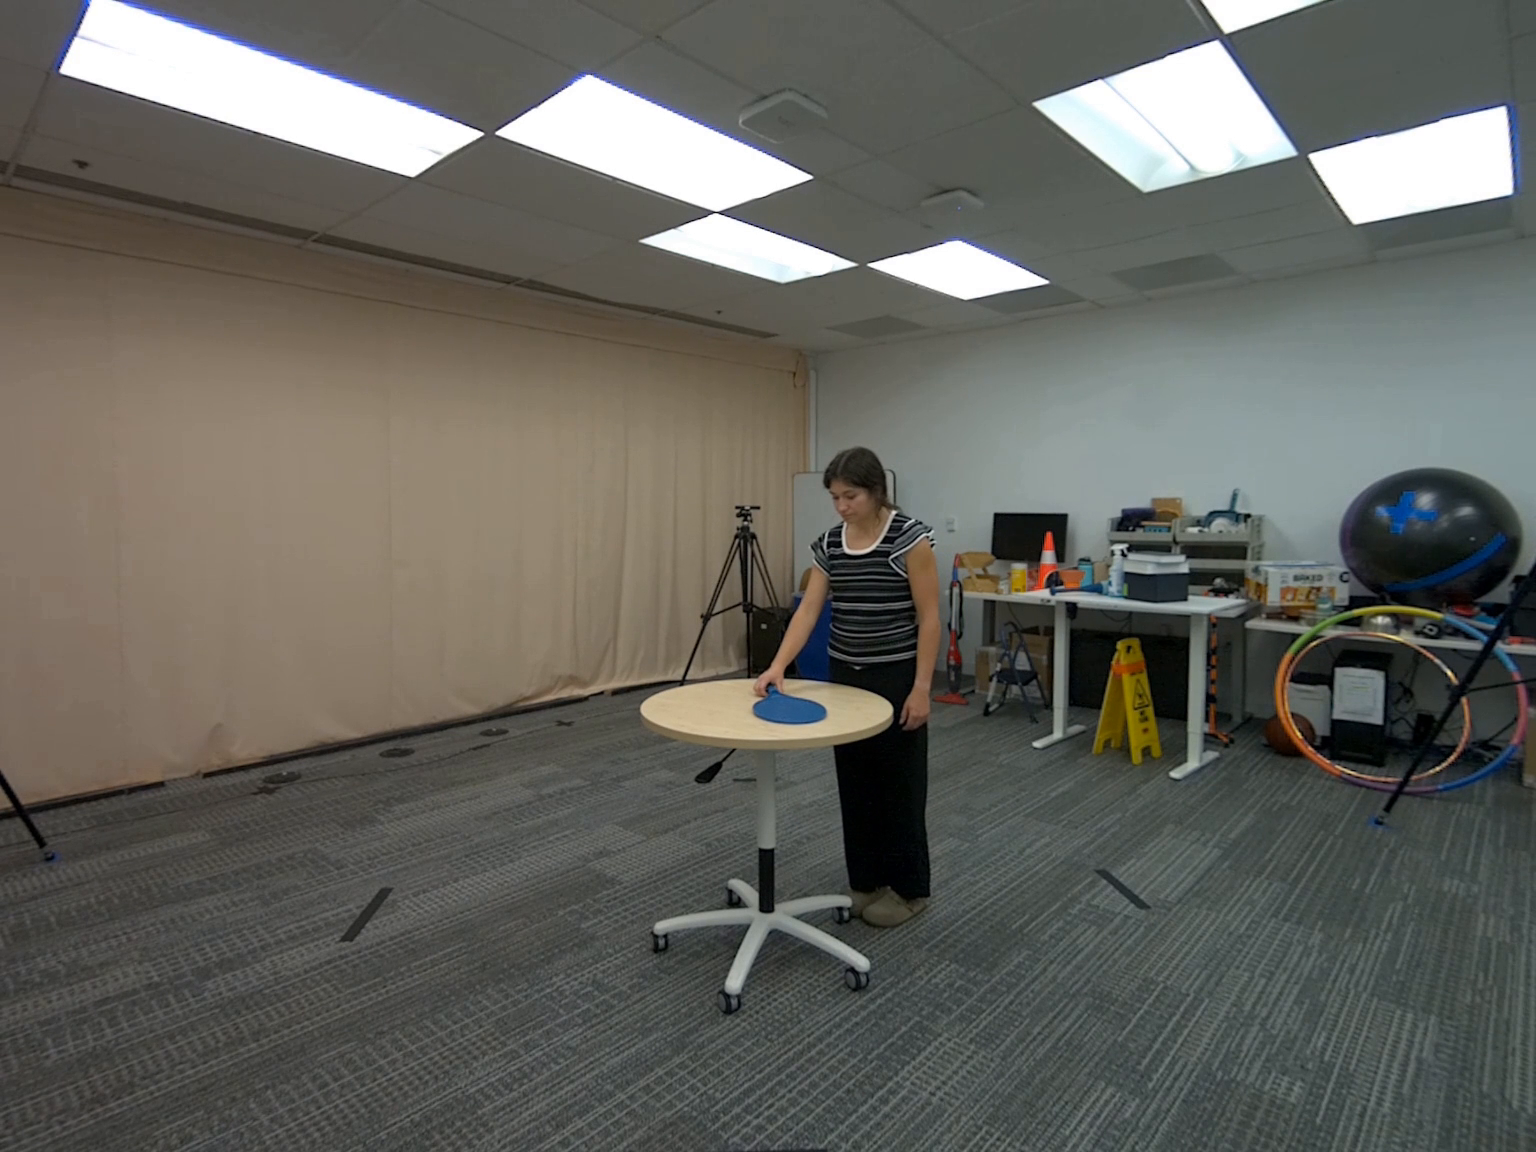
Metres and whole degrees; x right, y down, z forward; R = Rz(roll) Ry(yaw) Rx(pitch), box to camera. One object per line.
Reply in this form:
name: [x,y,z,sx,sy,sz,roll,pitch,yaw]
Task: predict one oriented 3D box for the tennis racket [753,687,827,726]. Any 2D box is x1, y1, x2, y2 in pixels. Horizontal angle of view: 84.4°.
tennis racket: [0.047,0.390,2.544,0.211,0.031,0.440,-2,6,-14]
